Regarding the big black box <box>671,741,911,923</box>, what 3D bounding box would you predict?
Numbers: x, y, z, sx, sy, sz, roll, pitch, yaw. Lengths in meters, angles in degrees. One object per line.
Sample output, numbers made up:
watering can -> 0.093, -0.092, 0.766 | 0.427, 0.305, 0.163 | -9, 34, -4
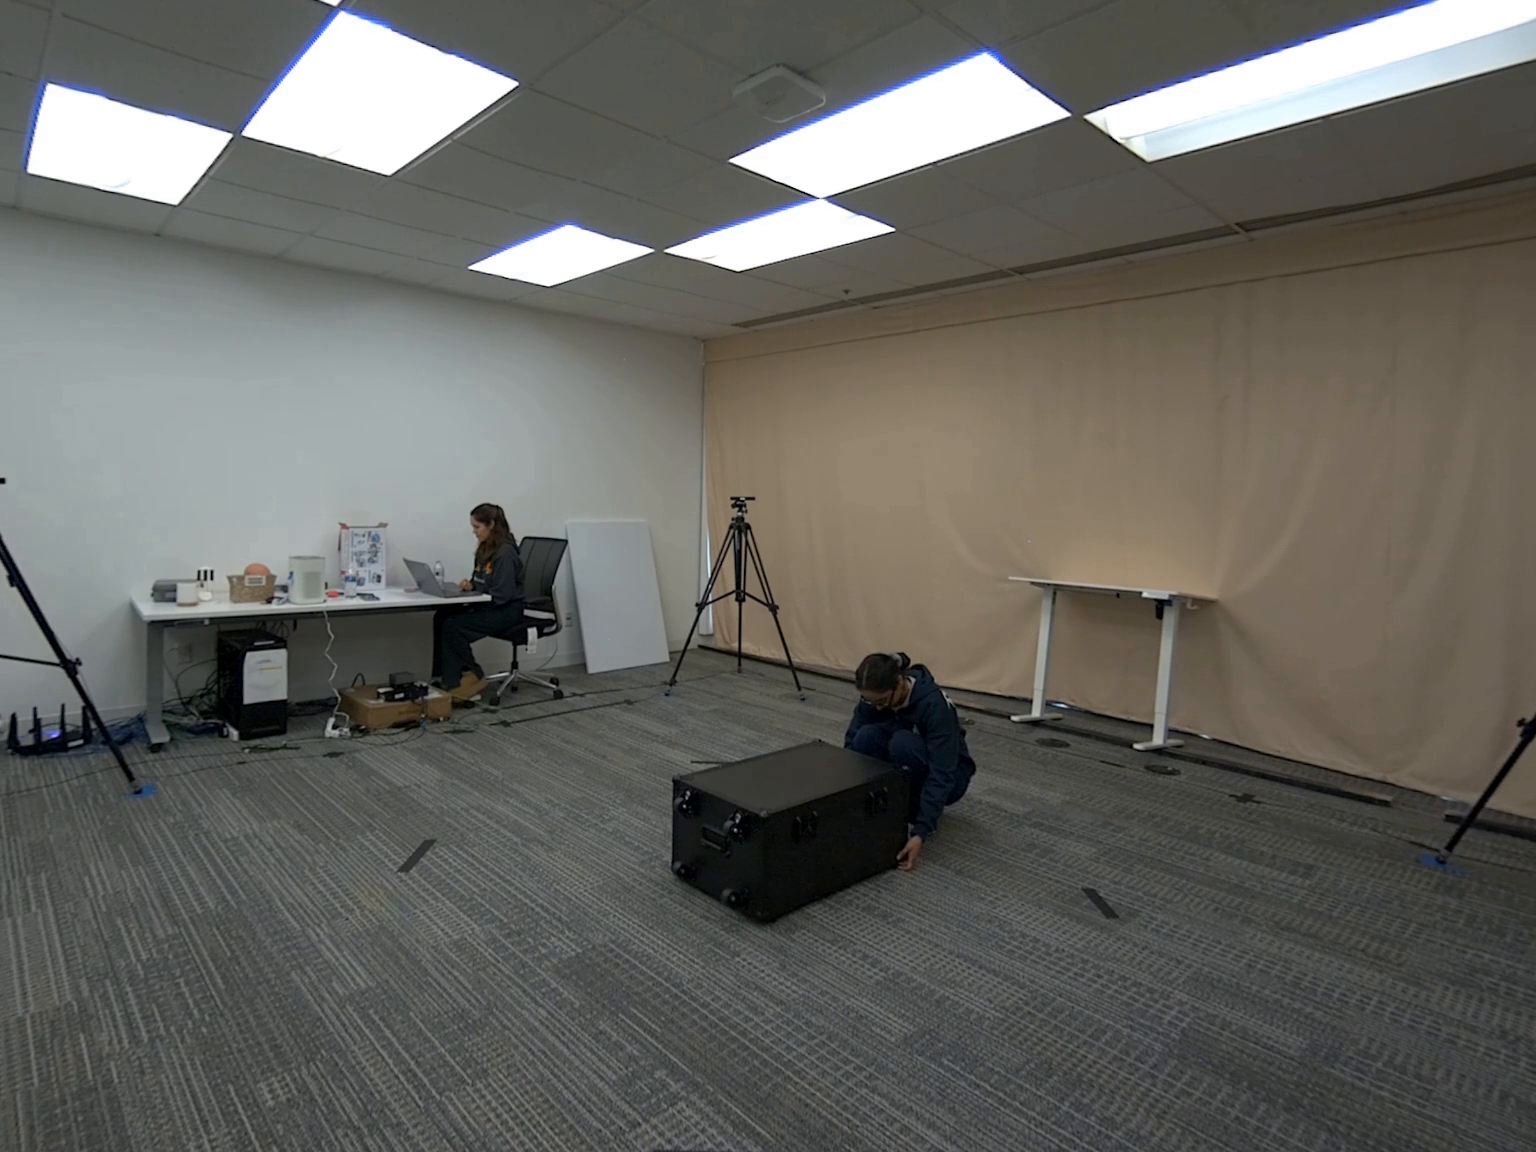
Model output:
big black box -> 0.063, 0.918, 3.122 | 0.841, 0.395, 0.534 | -2, 5, -44
